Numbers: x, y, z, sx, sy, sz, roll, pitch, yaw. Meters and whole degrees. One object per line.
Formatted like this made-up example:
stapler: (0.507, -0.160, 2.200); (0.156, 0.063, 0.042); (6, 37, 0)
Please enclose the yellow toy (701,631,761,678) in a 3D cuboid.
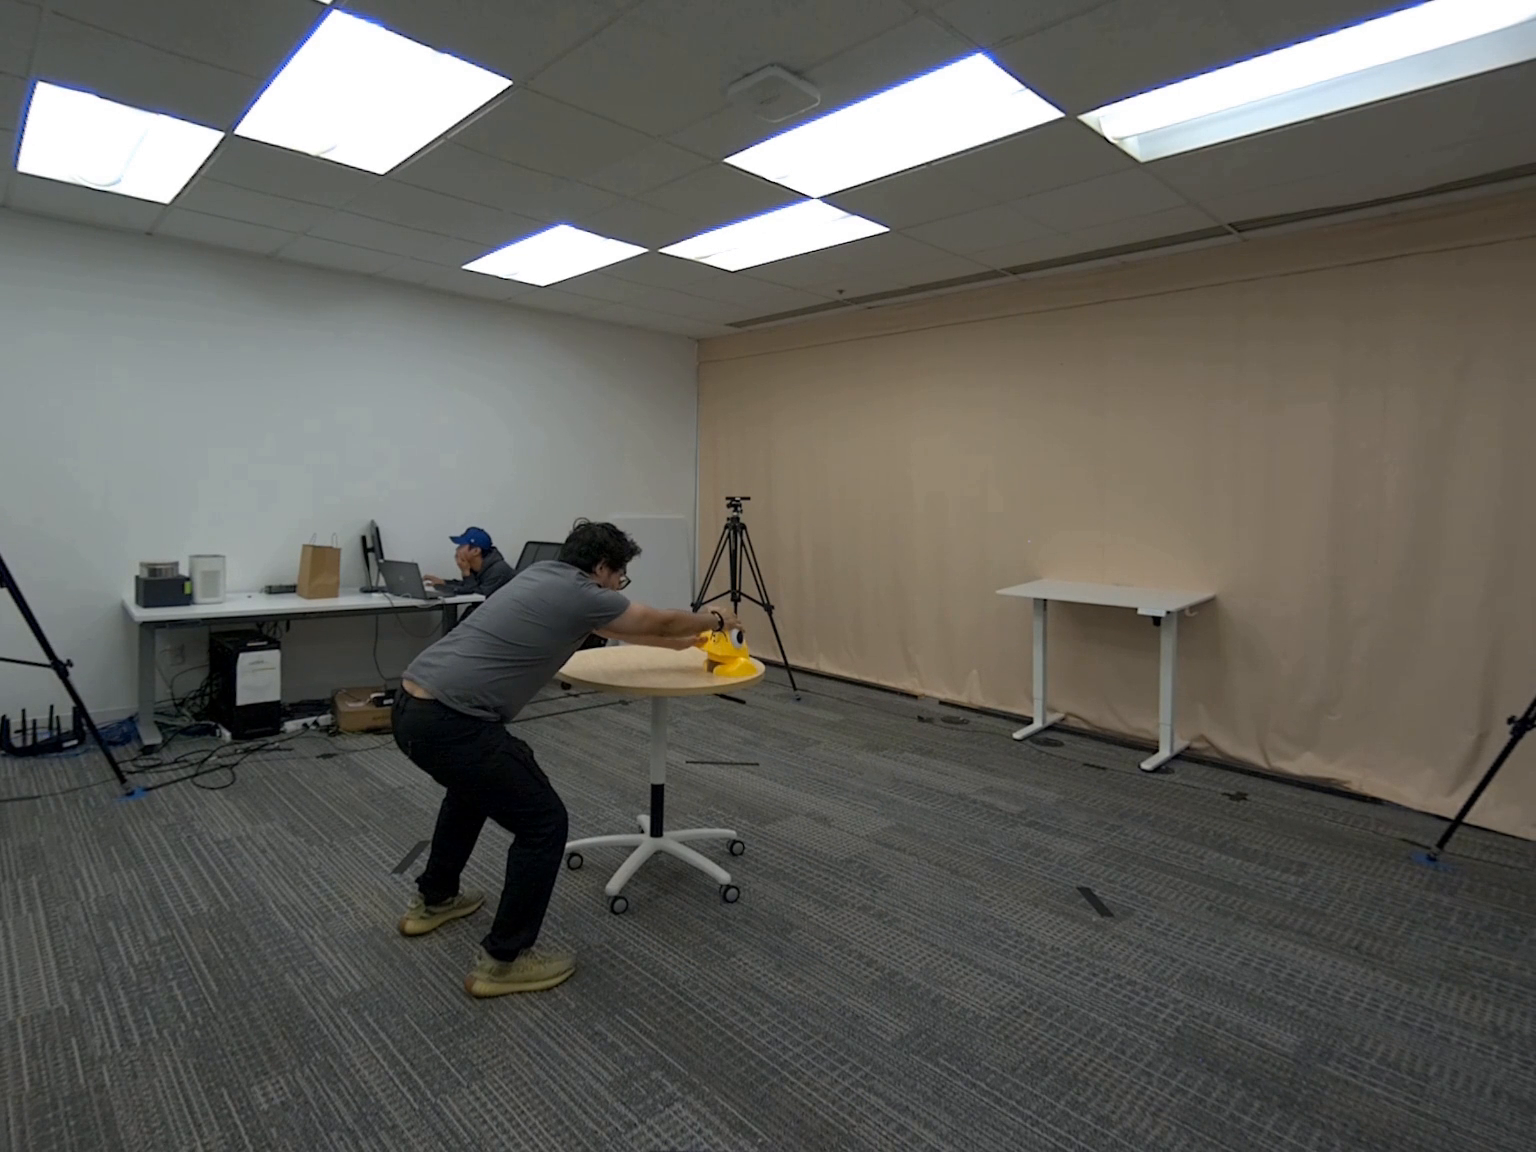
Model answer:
yellow toy: (-0.151, 0.228, 2.997); (0.189, 0.230, 0.209); (0, 4, -30)
